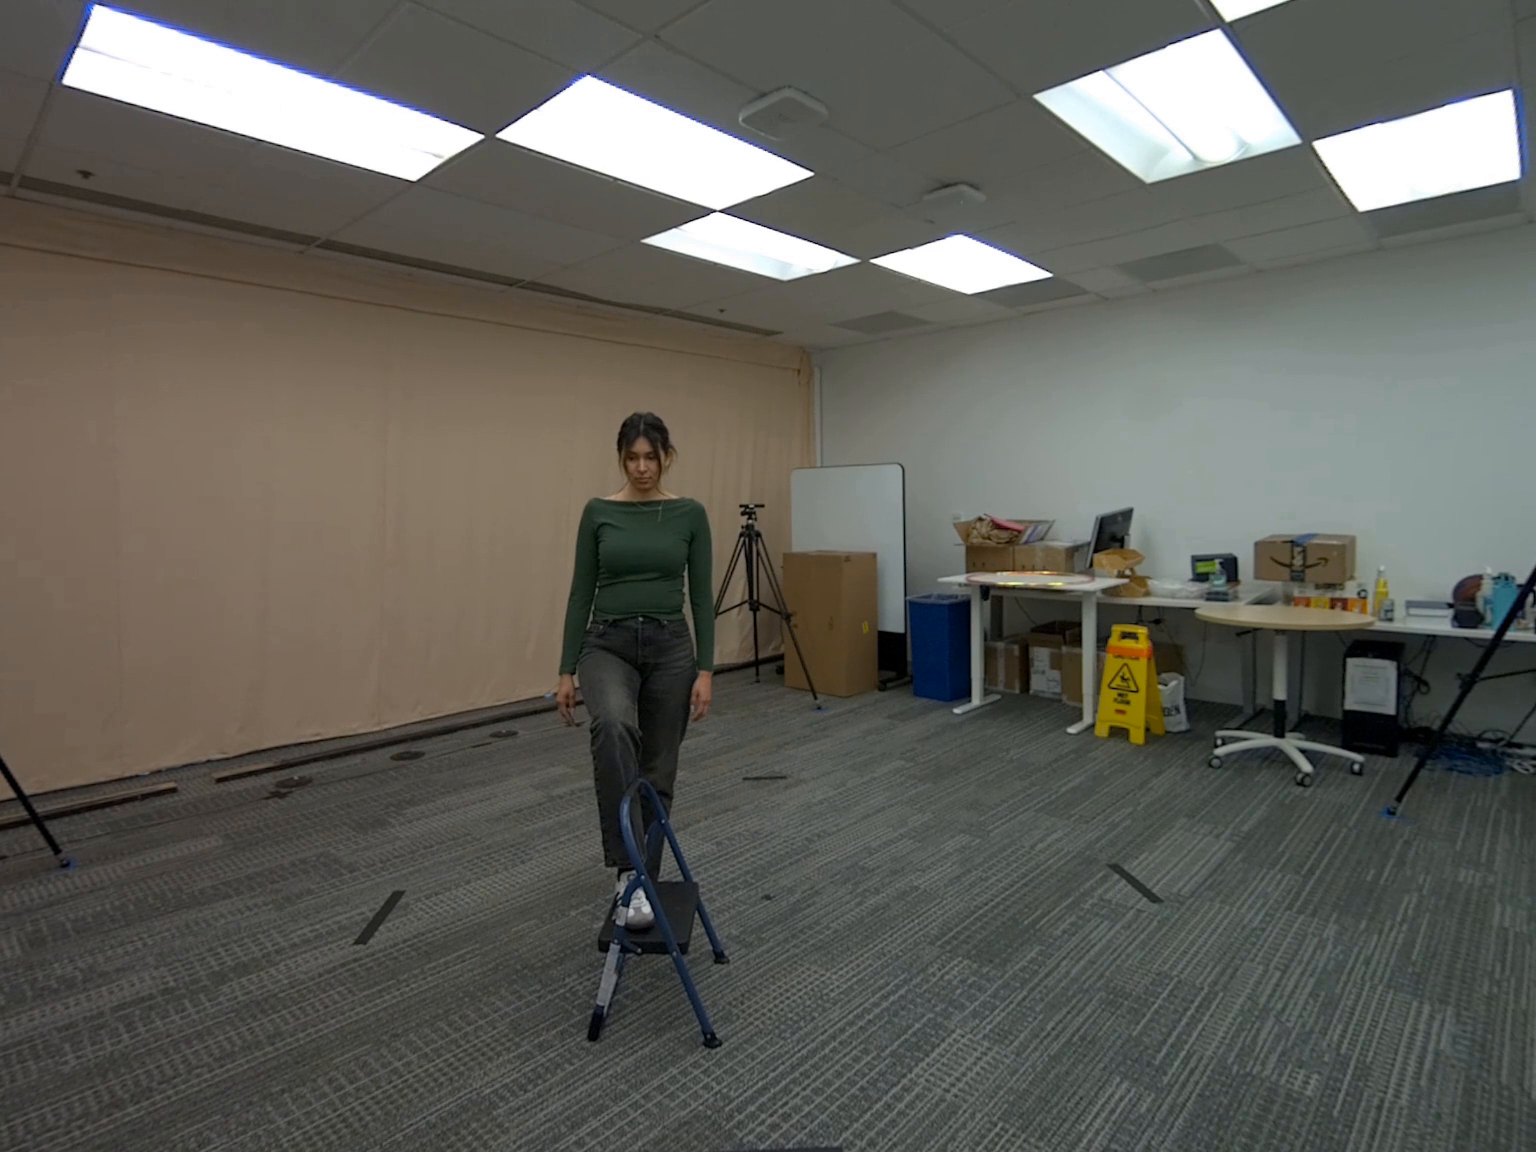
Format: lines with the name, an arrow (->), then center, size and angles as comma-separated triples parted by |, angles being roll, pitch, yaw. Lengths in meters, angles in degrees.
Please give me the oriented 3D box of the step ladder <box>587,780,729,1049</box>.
step ladder -> -0.296, 0.901, 2.368 | 0.350, 0.605, 0.431 | 0, 4, 1
